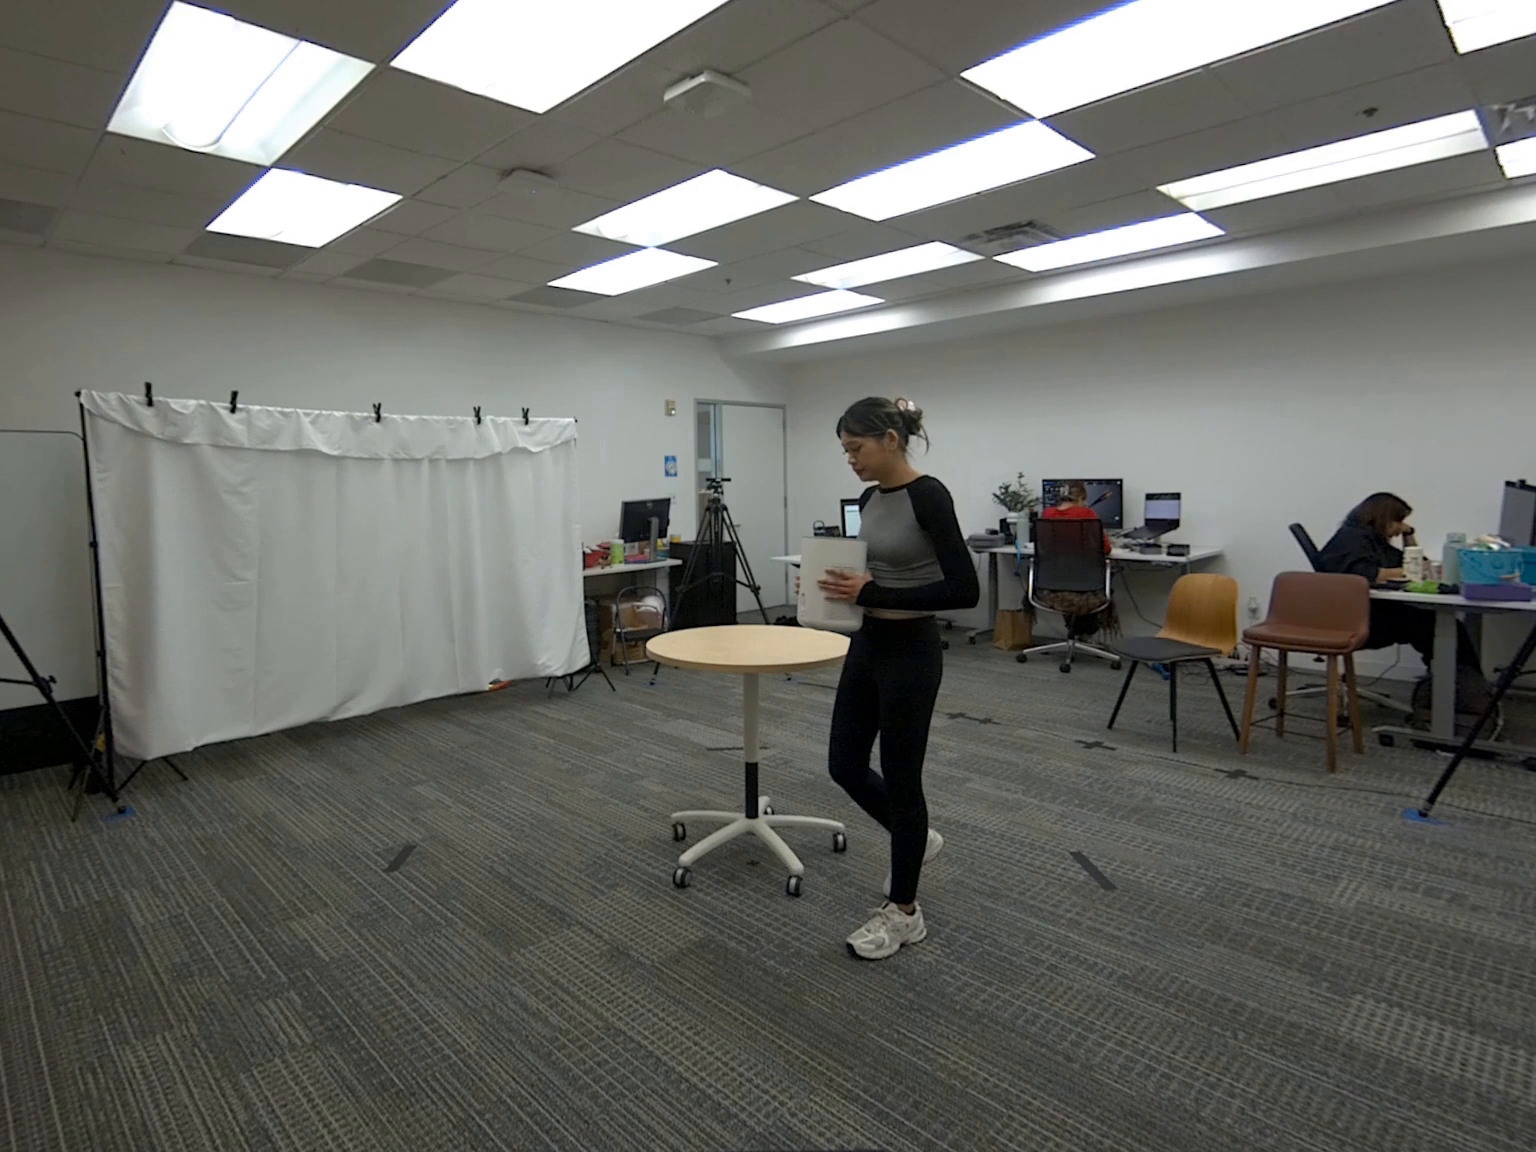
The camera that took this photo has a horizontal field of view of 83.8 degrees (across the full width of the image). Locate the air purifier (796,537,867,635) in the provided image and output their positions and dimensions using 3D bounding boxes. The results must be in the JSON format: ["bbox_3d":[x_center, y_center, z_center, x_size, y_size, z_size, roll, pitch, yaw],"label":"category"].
[{"bbox_3d":[0.181,0.024,2.499,0.169,0.266,0.173,3,-1,-14],"label":"air purifier"}]
